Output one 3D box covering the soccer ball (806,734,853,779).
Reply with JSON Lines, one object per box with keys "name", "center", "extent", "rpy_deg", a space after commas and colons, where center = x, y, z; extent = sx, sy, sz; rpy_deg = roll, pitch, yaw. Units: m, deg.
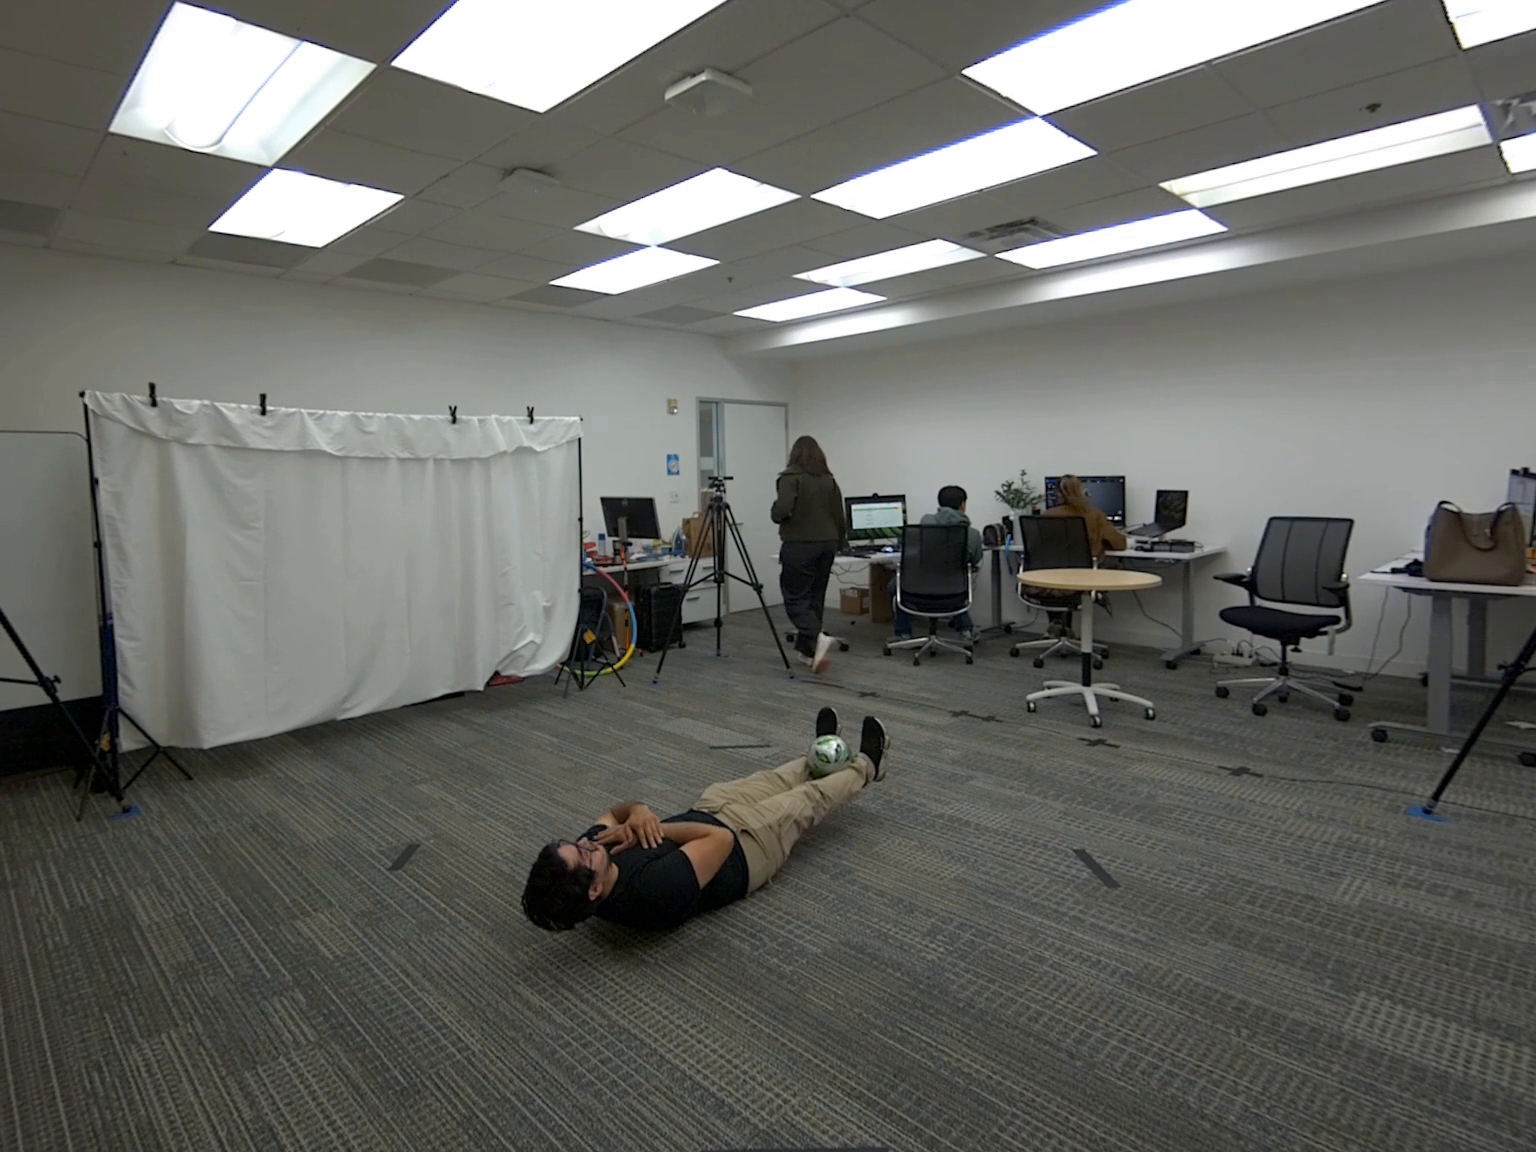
{"name": "soccer ball", "center": [0.260, 0.745, 3.477], "extent": [0.187, 0.187, 0.188], "rpy_deg": [-1, 4, -2]}
